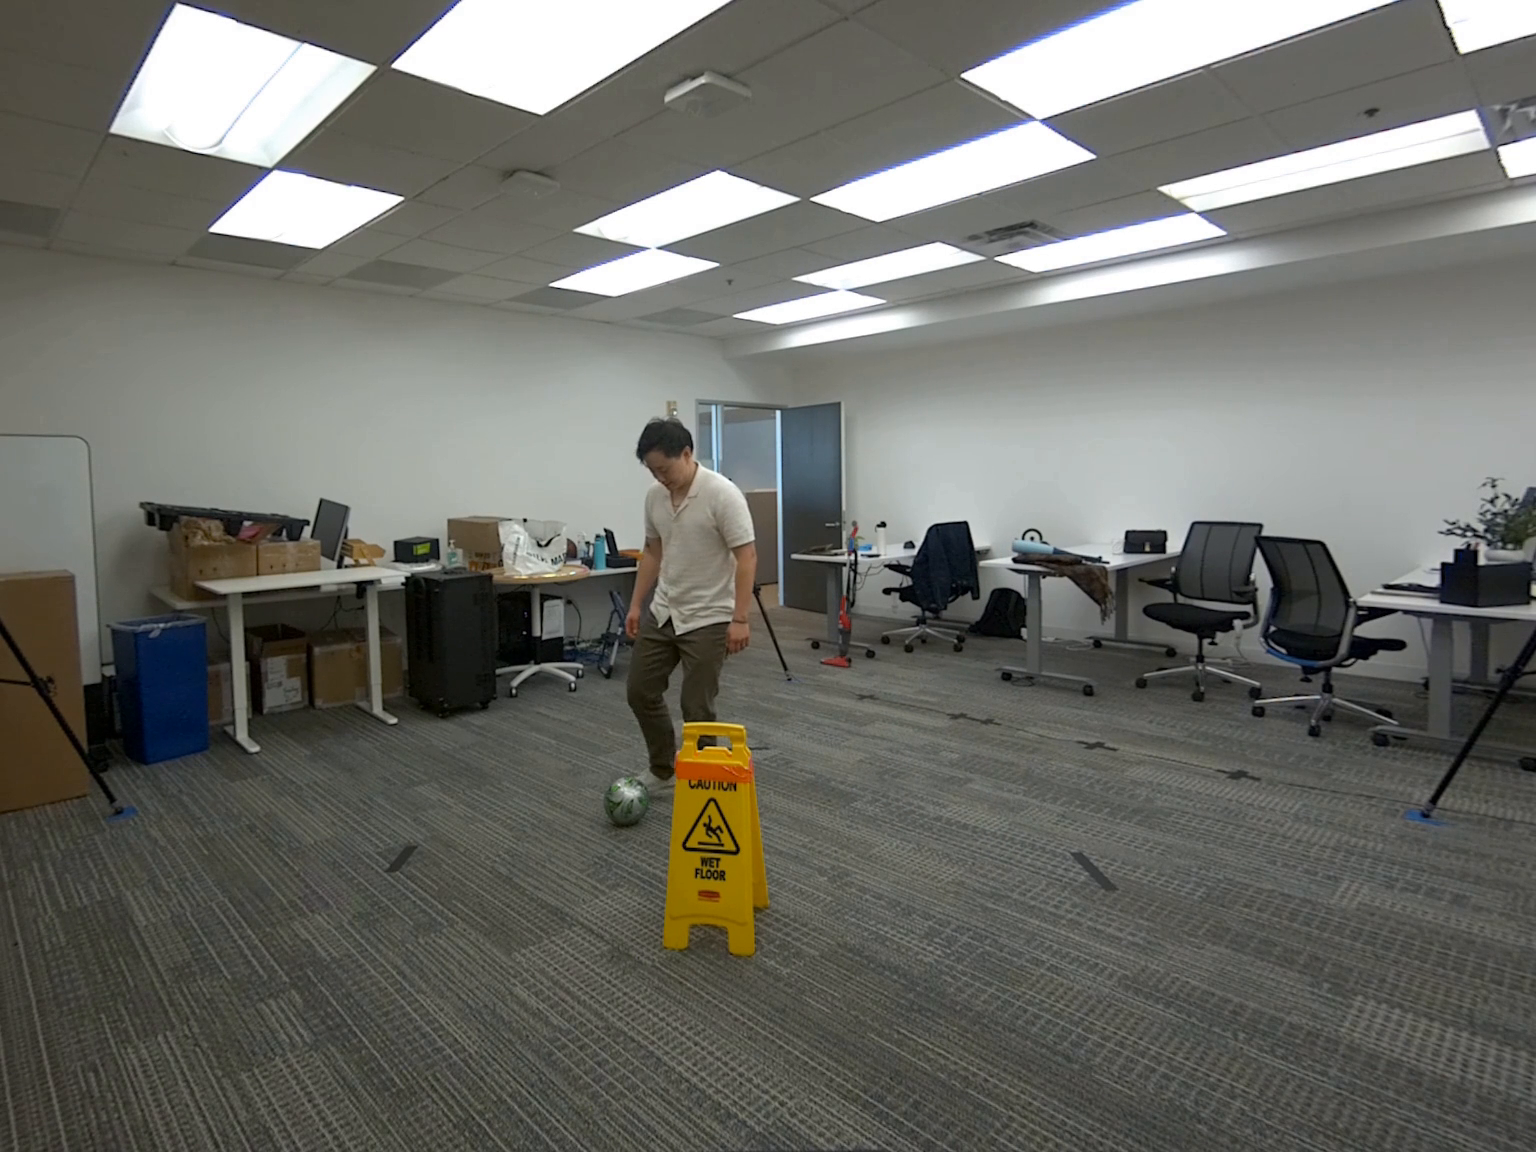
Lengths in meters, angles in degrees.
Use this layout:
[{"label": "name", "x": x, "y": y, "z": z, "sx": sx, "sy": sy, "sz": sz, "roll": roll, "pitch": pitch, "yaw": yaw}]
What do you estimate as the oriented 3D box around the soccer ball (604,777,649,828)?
[{"label": "soccer ball", "x": -0.574, "y": 0.916, "z": 3.482, "sx": 0.187, "sy": 0.187, "sz": 0.188, "roll": -1, "pitch": 5, "yaw": -2}]
